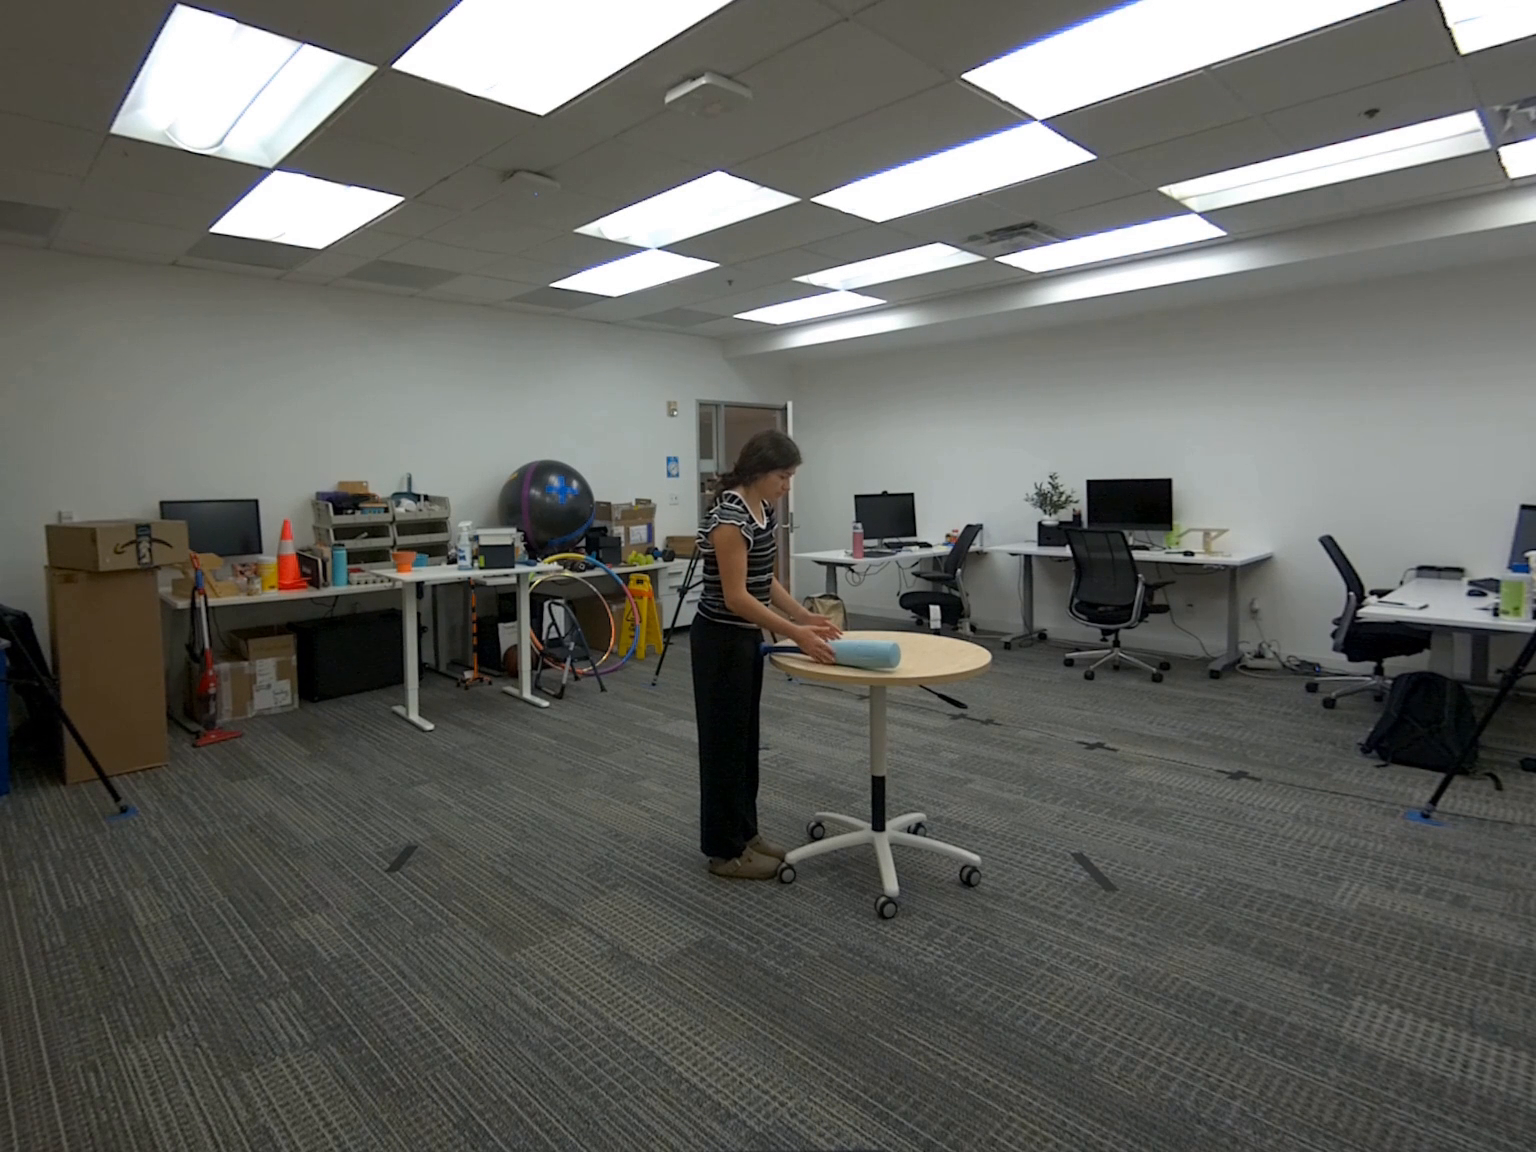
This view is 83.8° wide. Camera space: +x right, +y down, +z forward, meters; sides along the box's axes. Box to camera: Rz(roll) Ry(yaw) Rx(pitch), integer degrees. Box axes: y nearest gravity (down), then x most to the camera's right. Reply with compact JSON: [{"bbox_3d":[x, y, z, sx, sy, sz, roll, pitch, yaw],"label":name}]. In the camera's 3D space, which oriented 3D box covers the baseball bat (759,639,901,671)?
[{"bbox_3d":[0.196,0.254,2.848,0.558,0.089,0.087,-2,3,38],"label":"baseball bat"}]
